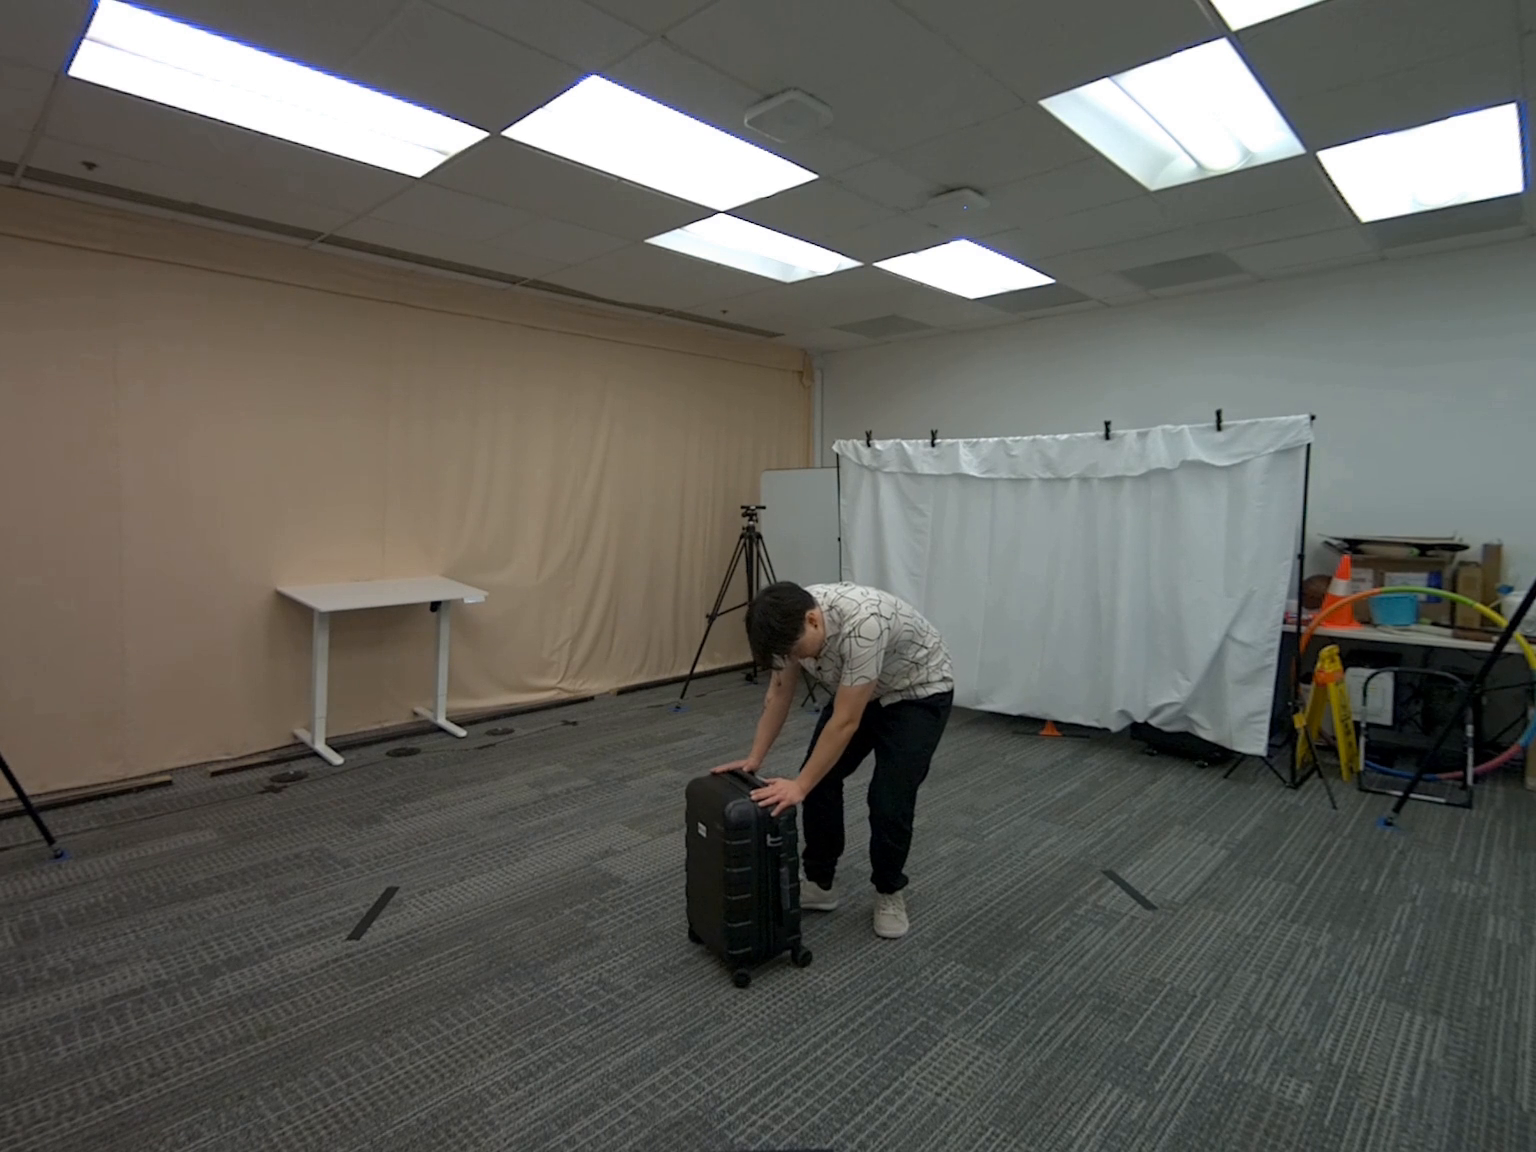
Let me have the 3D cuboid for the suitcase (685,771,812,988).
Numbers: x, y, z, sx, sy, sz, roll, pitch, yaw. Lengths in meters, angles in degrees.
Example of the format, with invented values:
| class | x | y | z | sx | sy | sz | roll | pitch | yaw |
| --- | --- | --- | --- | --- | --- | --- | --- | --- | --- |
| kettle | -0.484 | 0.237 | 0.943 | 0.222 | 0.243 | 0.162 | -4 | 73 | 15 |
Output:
| class | x | y | z | sx | sy | sz | roll | pitch | yaw |
| --- | --- | --- | --- | --- | --- | --- | --- | --- | --- |
| suitcase | -0.078 | 0.902 | 2.606 | 0.242 | 0.548 | 0.386 | -3 | 4 | -28 |
